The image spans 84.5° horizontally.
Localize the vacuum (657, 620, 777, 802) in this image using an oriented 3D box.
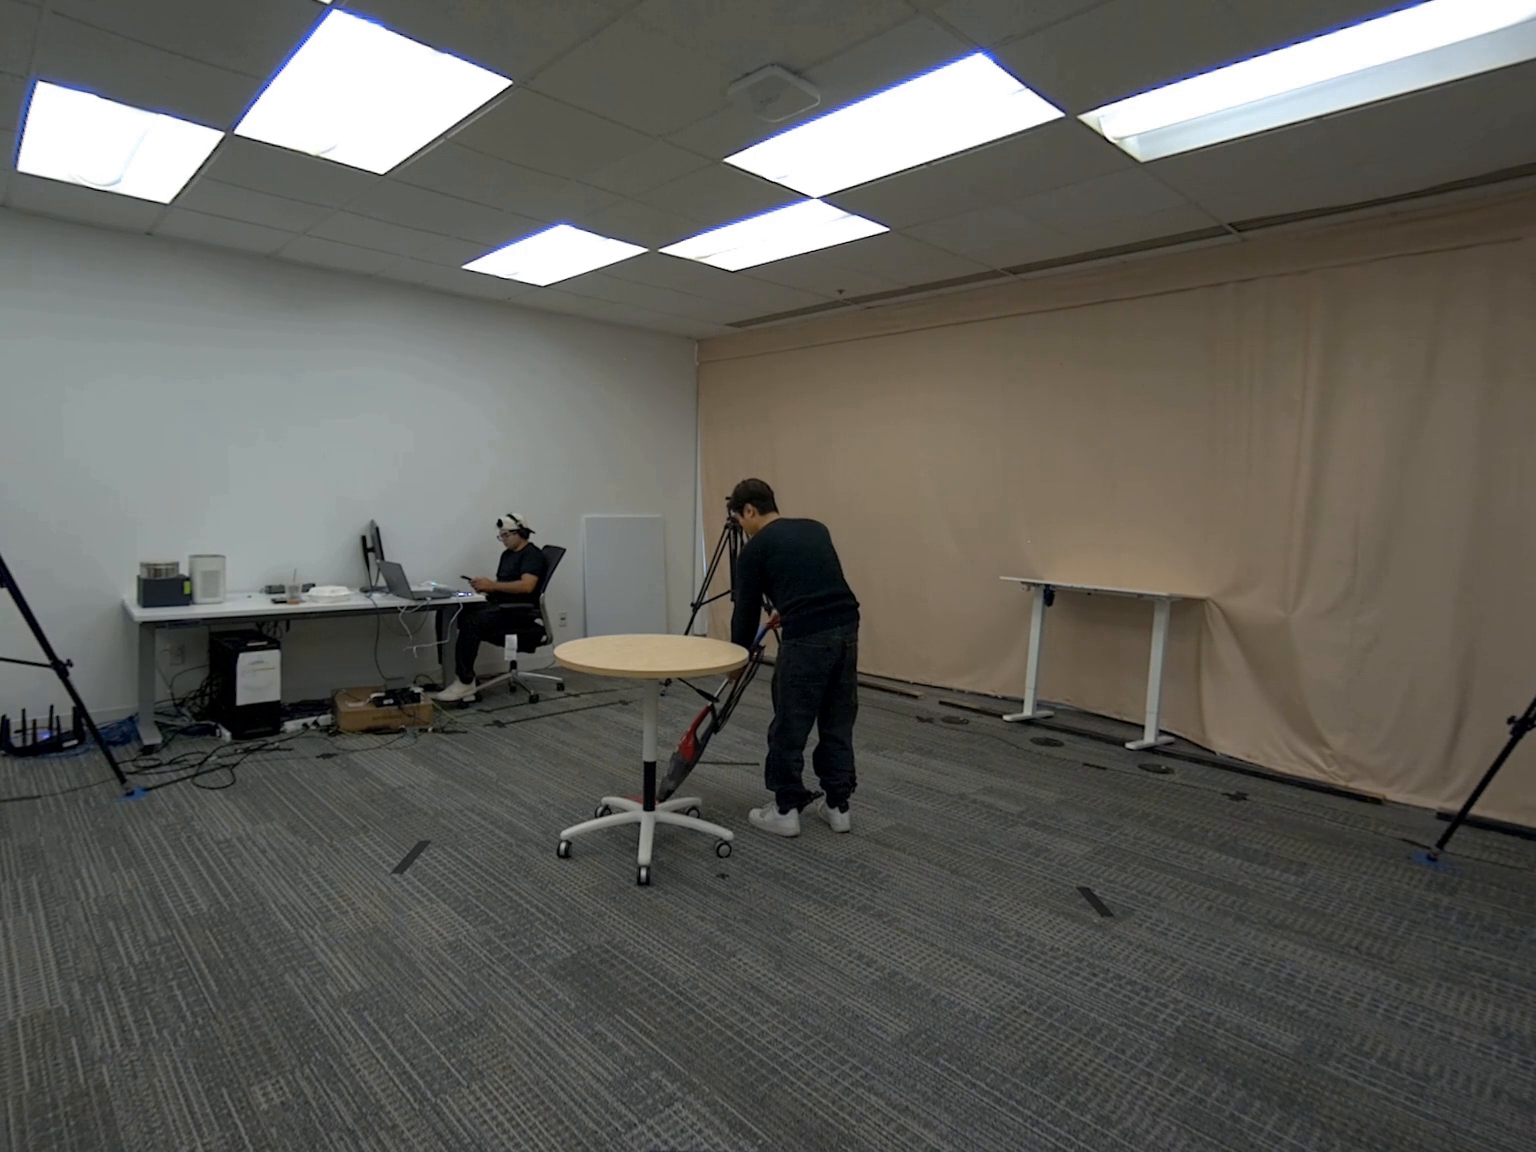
[{"bbox_3d":[-0.222,0.597,3.800,0.142,1.050,0.256,40,-10,-15],"label":"vacuum"}]
